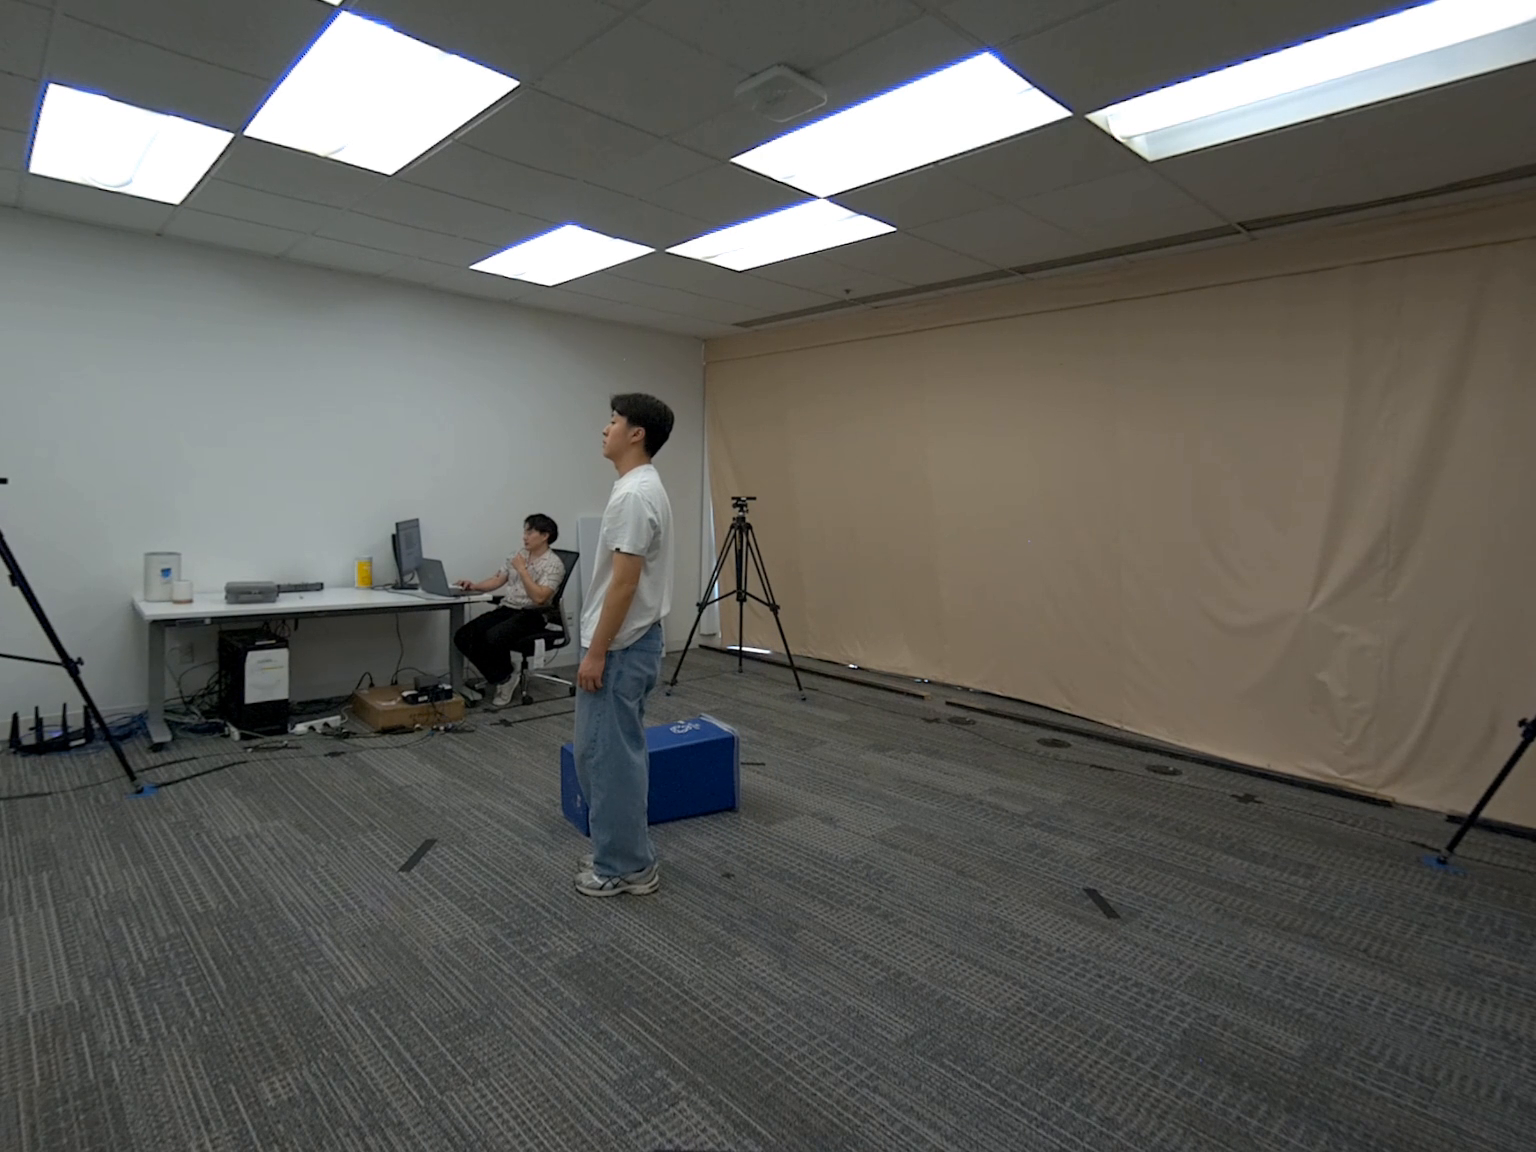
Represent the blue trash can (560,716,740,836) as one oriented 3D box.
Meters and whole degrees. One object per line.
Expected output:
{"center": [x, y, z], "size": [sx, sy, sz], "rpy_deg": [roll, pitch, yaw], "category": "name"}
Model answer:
{"center": [-0.524, 0.868, 3.707], "size": [0.699, 0.373, 0.387], "rpy_deg": [-3, 6, -31], "category": "blue trash can"}
